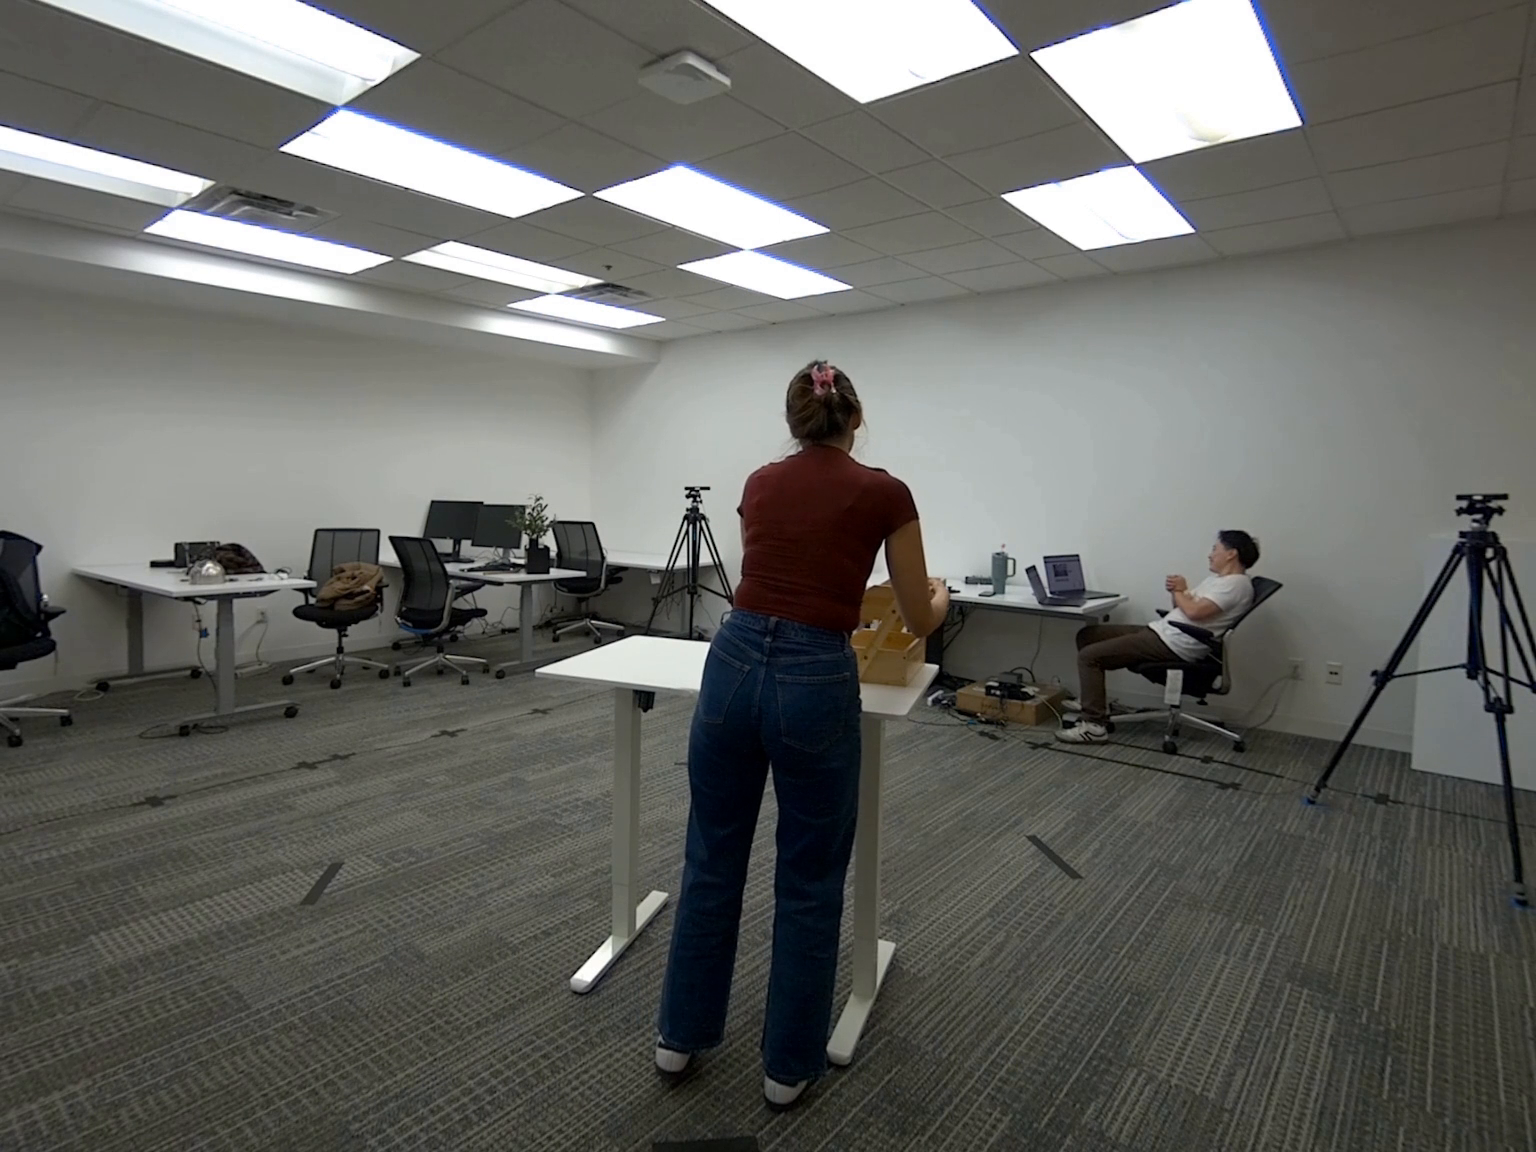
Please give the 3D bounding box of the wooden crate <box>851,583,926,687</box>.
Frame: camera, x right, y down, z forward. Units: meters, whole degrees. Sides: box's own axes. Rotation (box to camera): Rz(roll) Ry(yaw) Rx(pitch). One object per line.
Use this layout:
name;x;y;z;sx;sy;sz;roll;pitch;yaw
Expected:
wooden crate;0.313;0.135;2.385;0.309;0.272;0.319;4;6;20
